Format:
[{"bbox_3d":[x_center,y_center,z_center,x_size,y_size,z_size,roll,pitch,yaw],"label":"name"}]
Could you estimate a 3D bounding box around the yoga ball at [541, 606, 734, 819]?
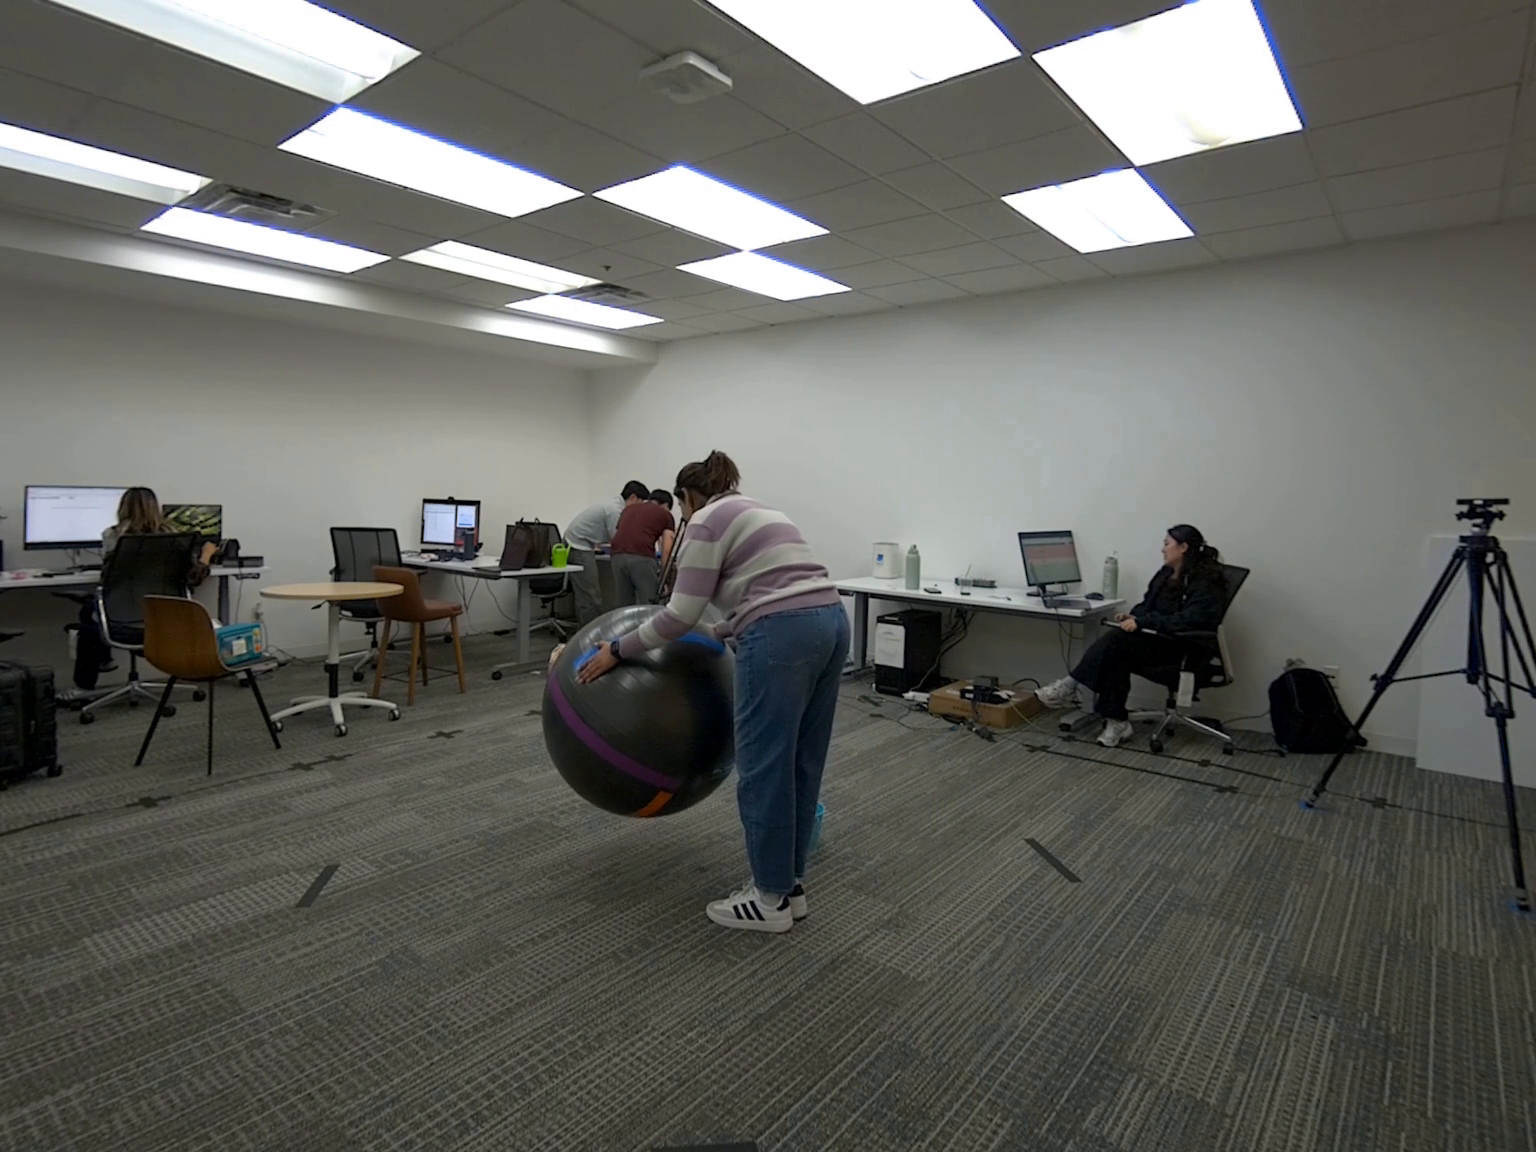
[{"bbox_3d":[-0.447,0.490,3.116,0.757,0.755,0.762,1,4,-2],"label":"yoga ball"}]
